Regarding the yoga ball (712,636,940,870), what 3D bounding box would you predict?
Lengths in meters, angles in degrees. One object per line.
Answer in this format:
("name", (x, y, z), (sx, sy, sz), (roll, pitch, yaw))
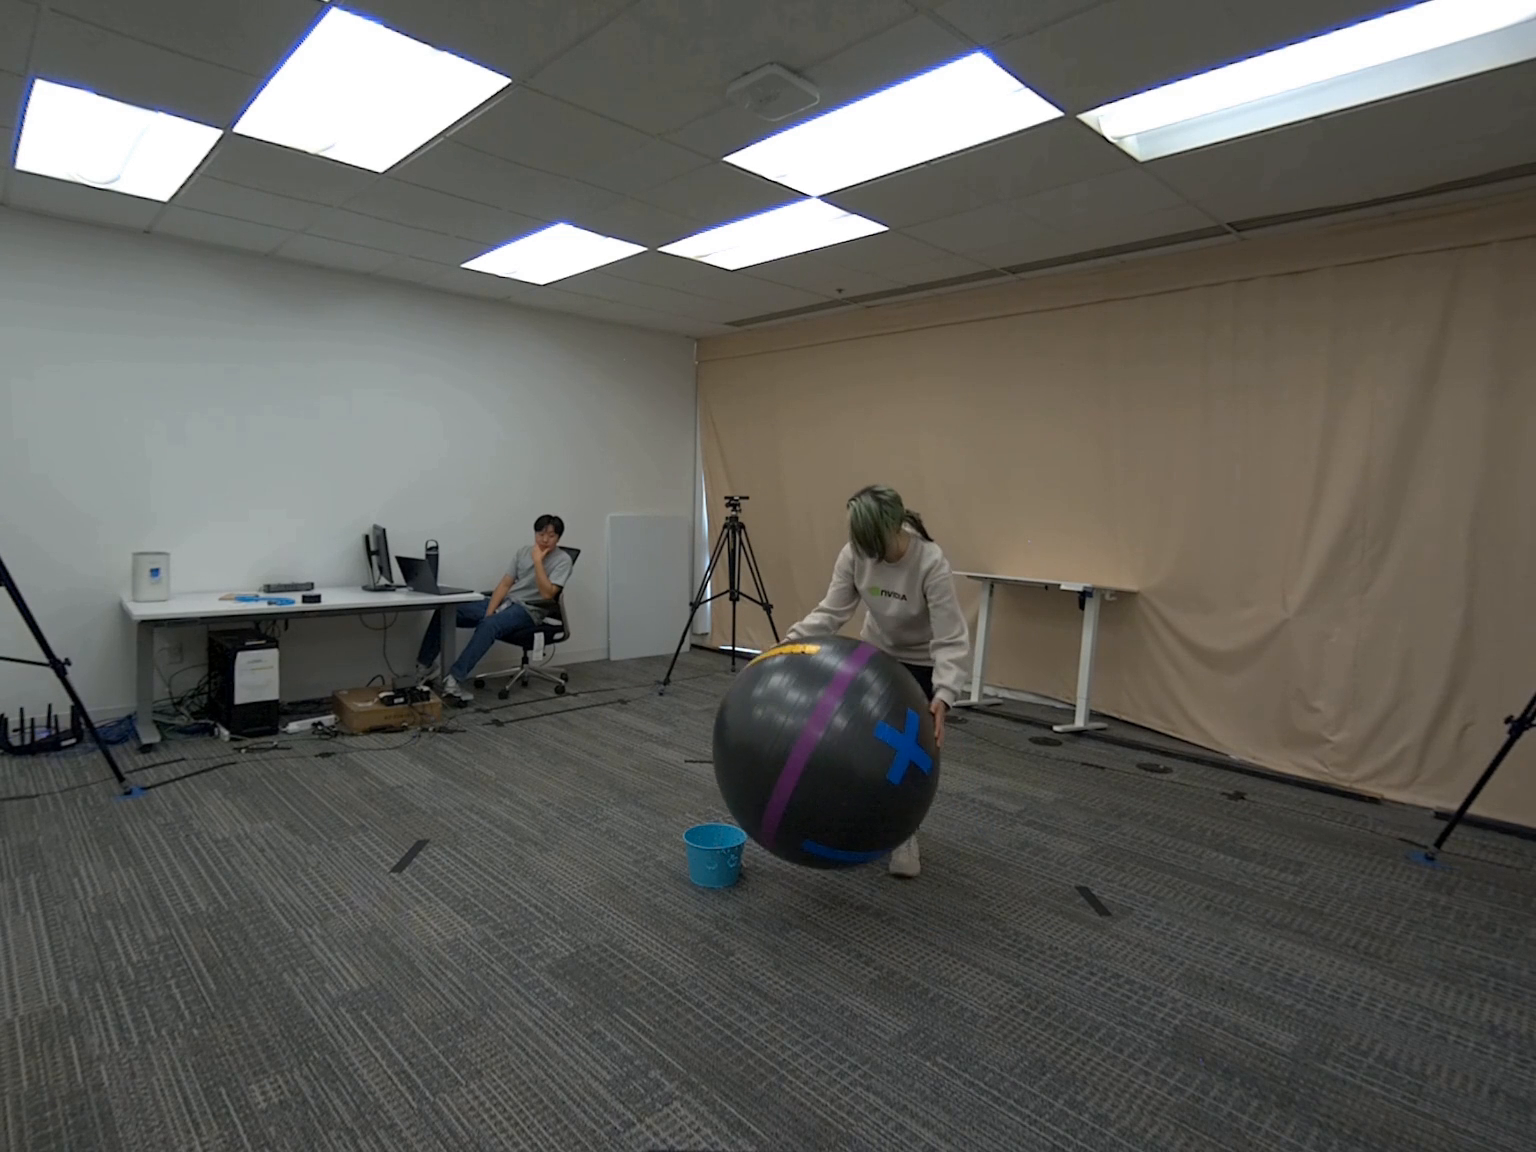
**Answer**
("yoga ball", (0.181, 0.587, 2.809), (0.757, 0.756, 0.761), (1, 4, -1))
